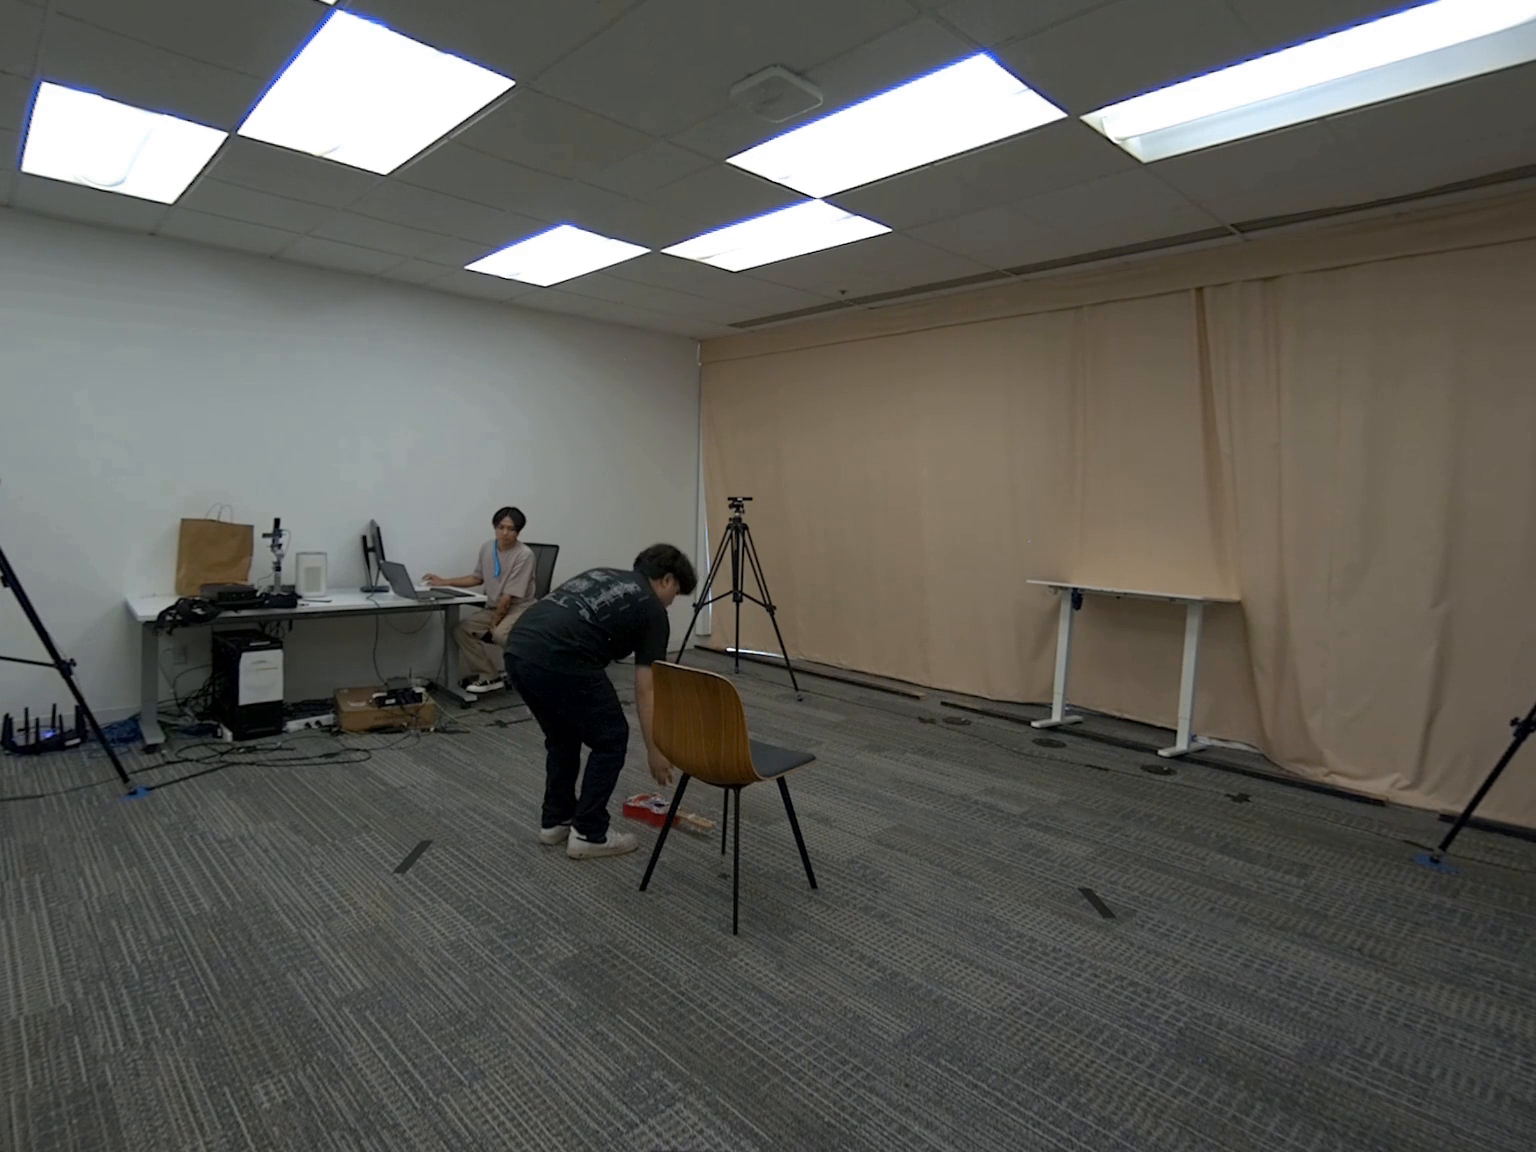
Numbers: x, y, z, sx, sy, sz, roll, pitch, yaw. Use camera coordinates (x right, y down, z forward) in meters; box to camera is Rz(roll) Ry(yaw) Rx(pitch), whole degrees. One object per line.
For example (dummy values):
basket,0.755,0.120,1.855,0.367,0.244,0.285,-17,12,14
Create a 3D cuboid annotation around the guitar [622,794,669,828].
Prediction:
guitar,-0.445,1.028,3.585,0.188,0.070,0.510,-2,5,-40
